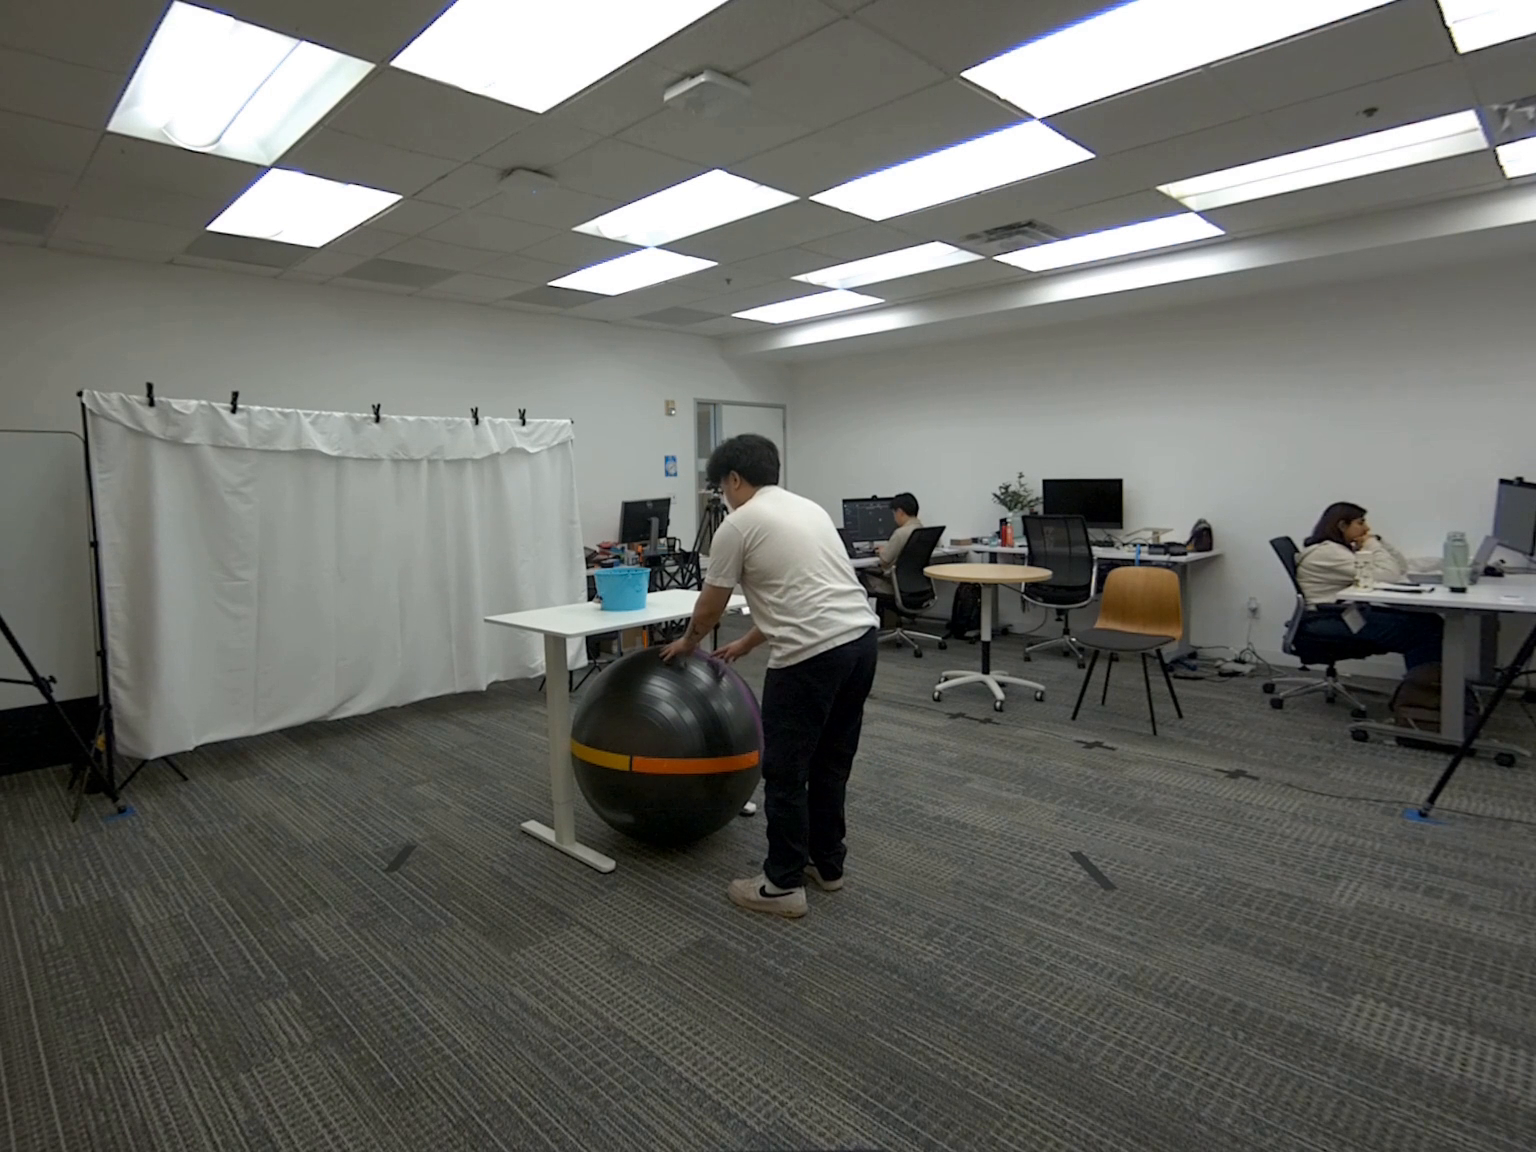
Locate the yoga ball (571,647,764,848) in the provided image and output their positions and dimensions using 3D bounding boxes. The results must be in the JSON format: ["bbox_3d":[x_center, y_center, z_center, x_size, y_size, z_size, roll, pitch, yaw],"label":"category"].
[{"bbox_3d":[-0.393,0.658,3.334,0.757,0.755,0.762,-1,5,-2],"label":"yoga ball"}]
